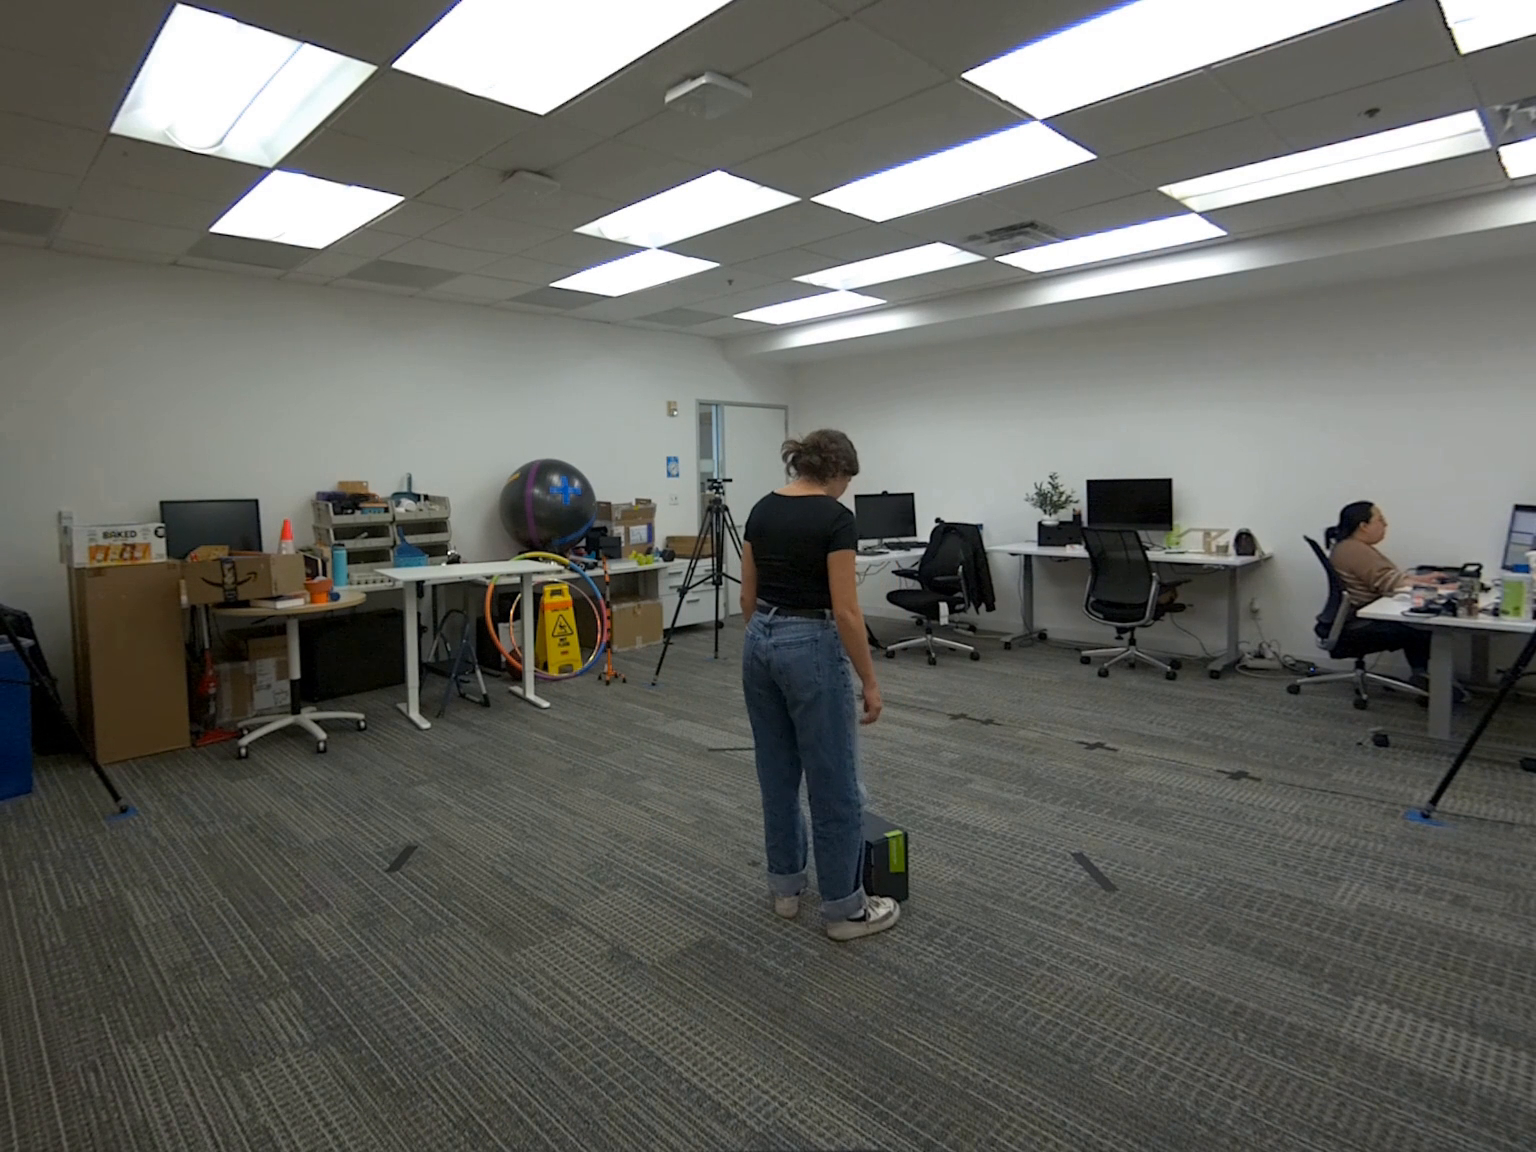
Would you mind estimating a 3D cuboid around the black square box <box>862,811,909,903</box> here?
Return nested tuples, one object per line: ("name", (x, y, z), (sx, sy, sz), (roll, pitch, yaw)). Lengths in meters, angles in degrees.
("black square box", (0.346, 0.945, 2.871), (0.152, 0.227, 0.223), (-4, 6, -32))
